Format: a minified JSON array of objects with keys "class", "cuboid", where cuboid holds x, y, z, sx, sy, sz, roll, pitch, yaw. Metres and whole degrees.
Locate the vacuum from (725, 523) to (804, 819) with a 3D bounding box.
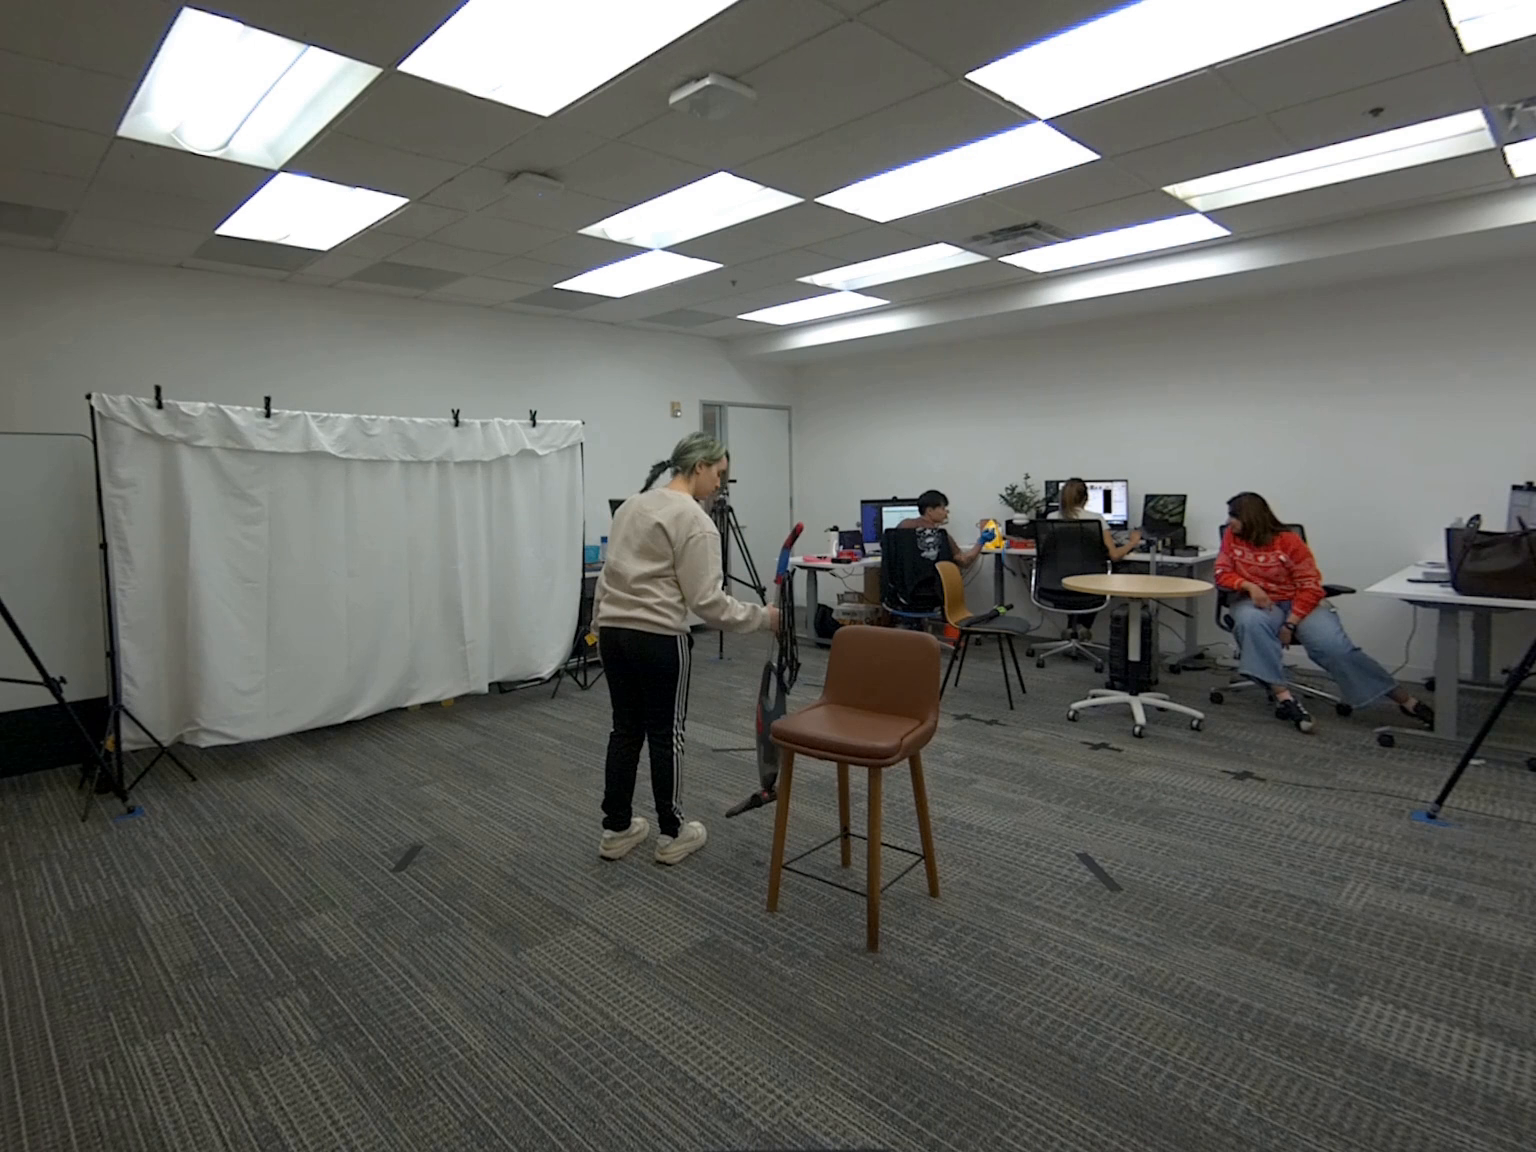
[{"class":"vacuum","cuboid":[0.033,0.333,3.108,0.149,1.043,0.246,15,9,35]}]
